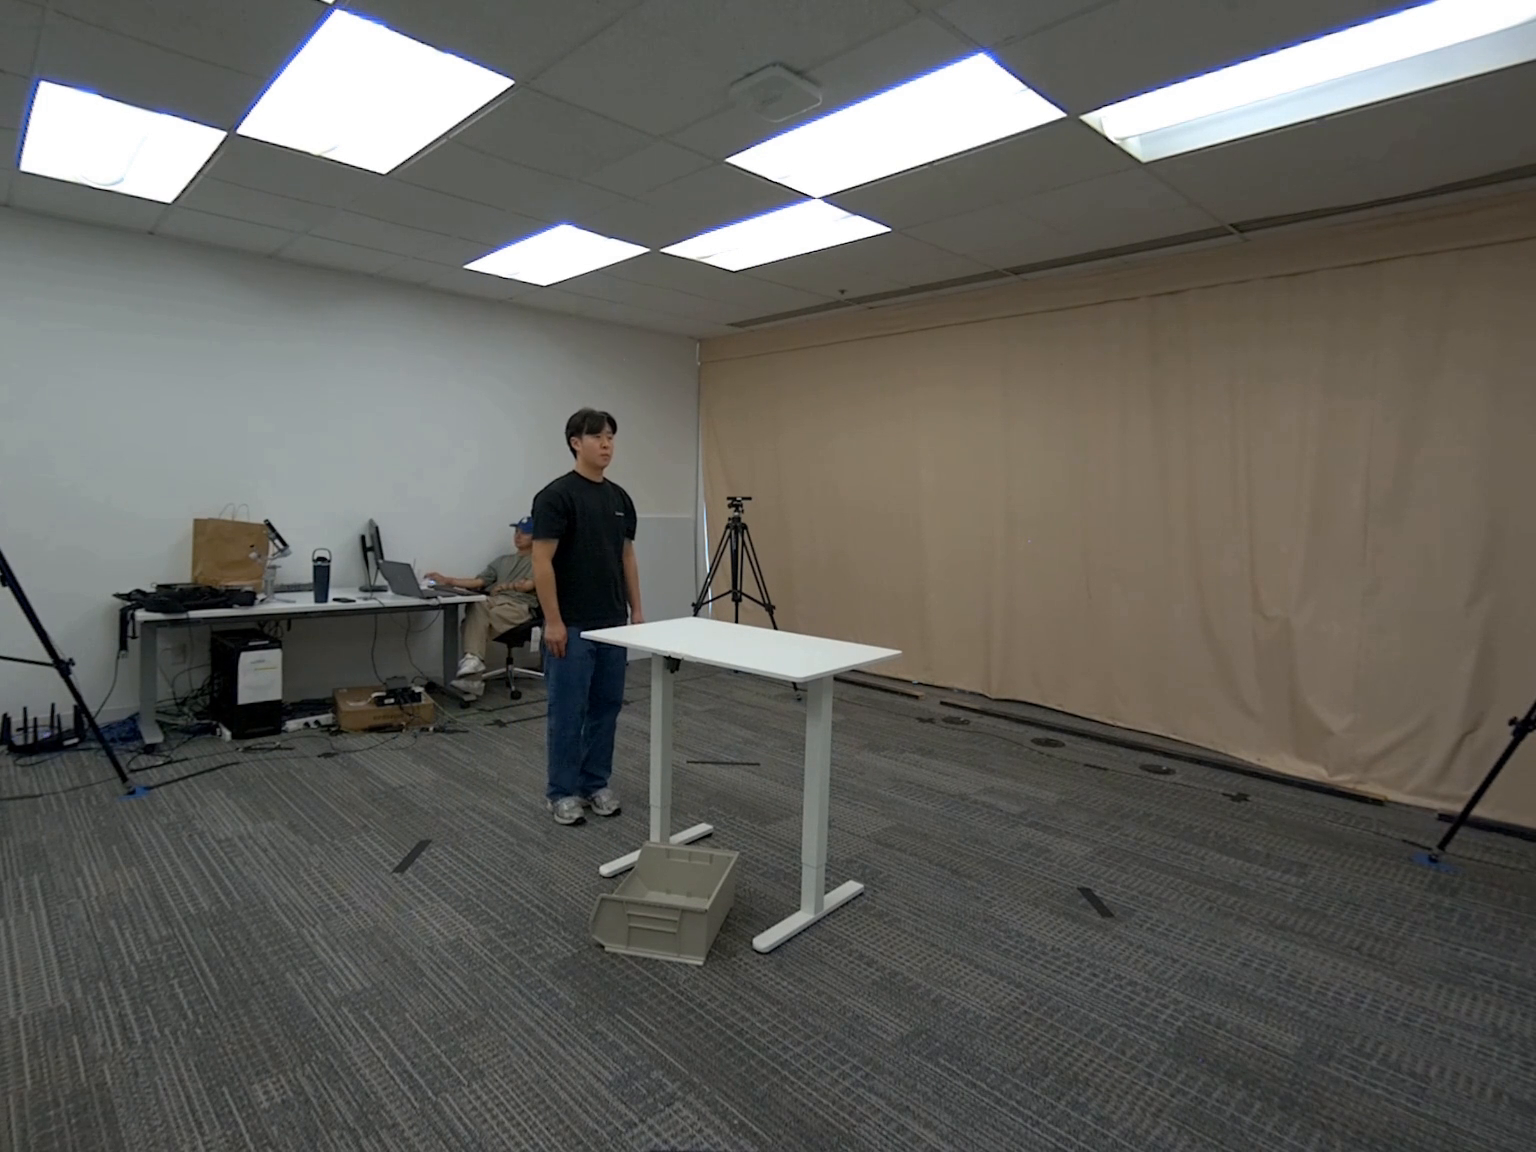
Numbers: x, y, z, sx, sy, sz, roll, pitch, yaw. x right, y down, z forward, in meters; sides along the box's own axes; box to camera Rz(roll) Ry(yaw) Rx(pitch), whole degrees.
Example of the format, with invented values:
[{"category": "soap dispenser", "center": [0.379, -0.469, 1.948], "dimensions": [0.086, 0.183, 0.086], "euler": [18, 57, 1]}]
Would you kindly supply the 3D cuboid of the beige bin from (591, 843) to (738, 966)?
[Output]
[{"category": "beige bin", "center": [-0.323, 1.050, 2.729], "dimensions": [0.381, 0.188, 0.419], "euler": [3, 5, 12]}]
